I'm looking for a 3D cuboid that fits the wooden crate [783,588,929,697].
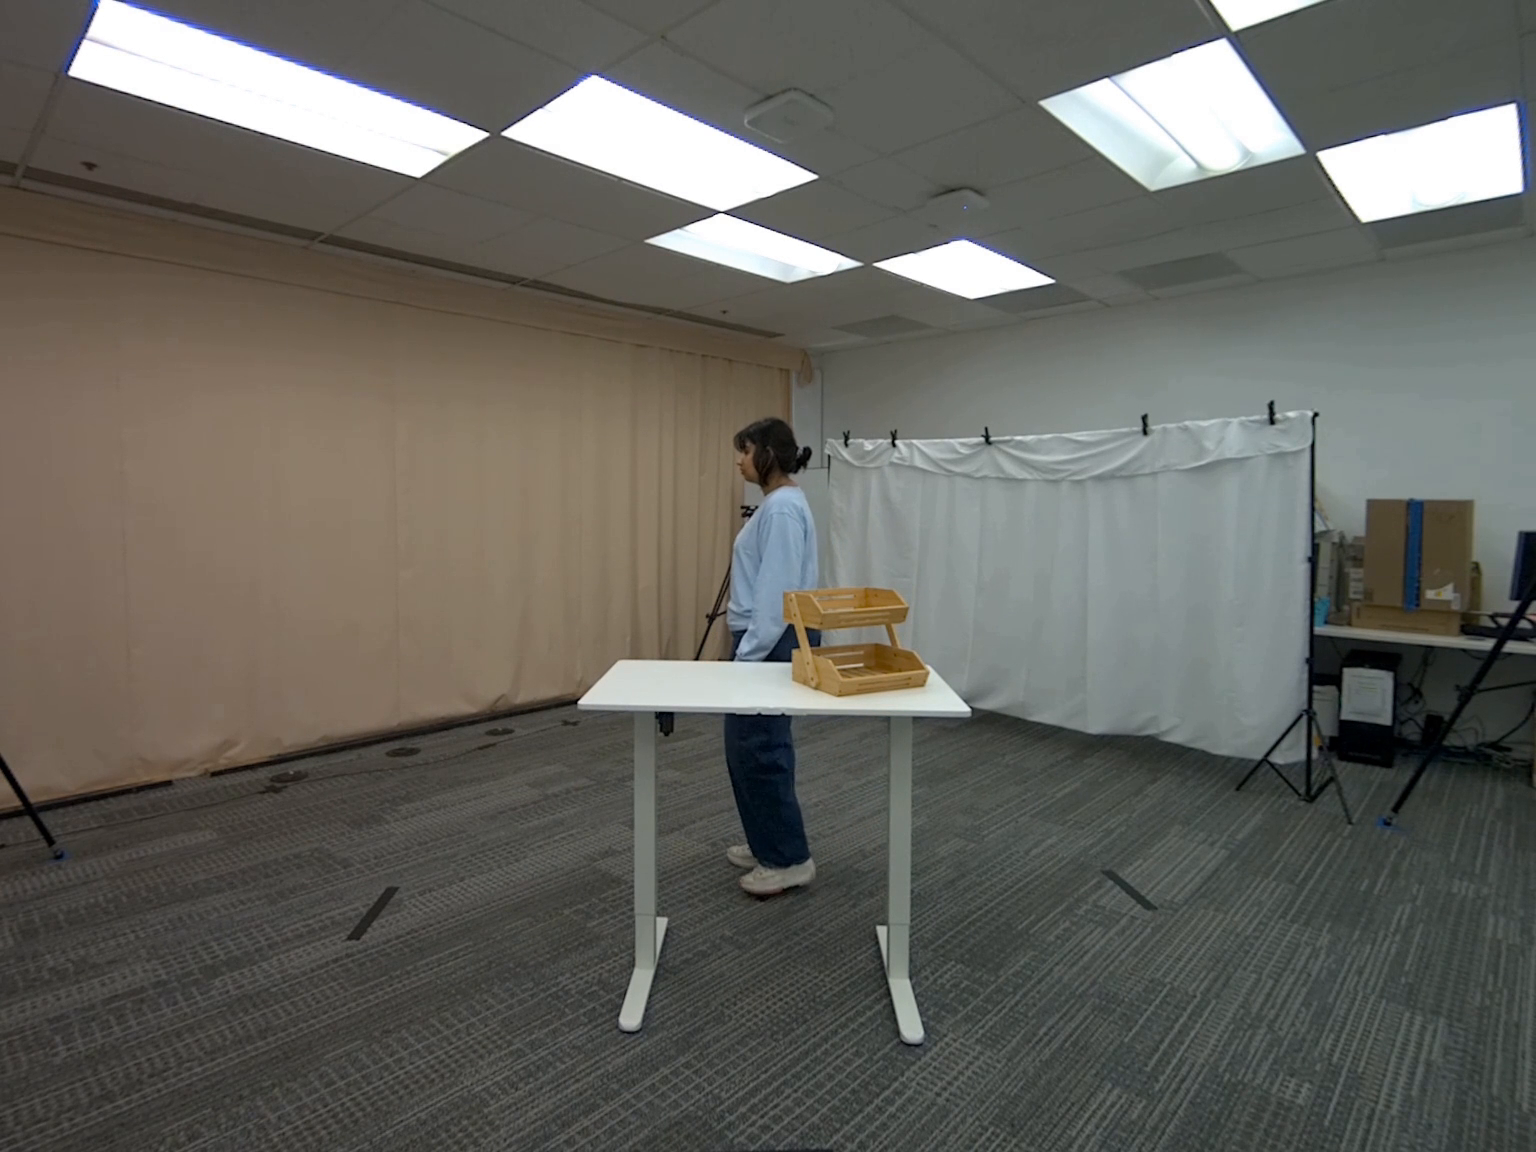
[{"bbox_3d":[0.261,0.179,2.419,0.316,0.273,0.310,-3,4,-27],"label":"wooden crate"}]
